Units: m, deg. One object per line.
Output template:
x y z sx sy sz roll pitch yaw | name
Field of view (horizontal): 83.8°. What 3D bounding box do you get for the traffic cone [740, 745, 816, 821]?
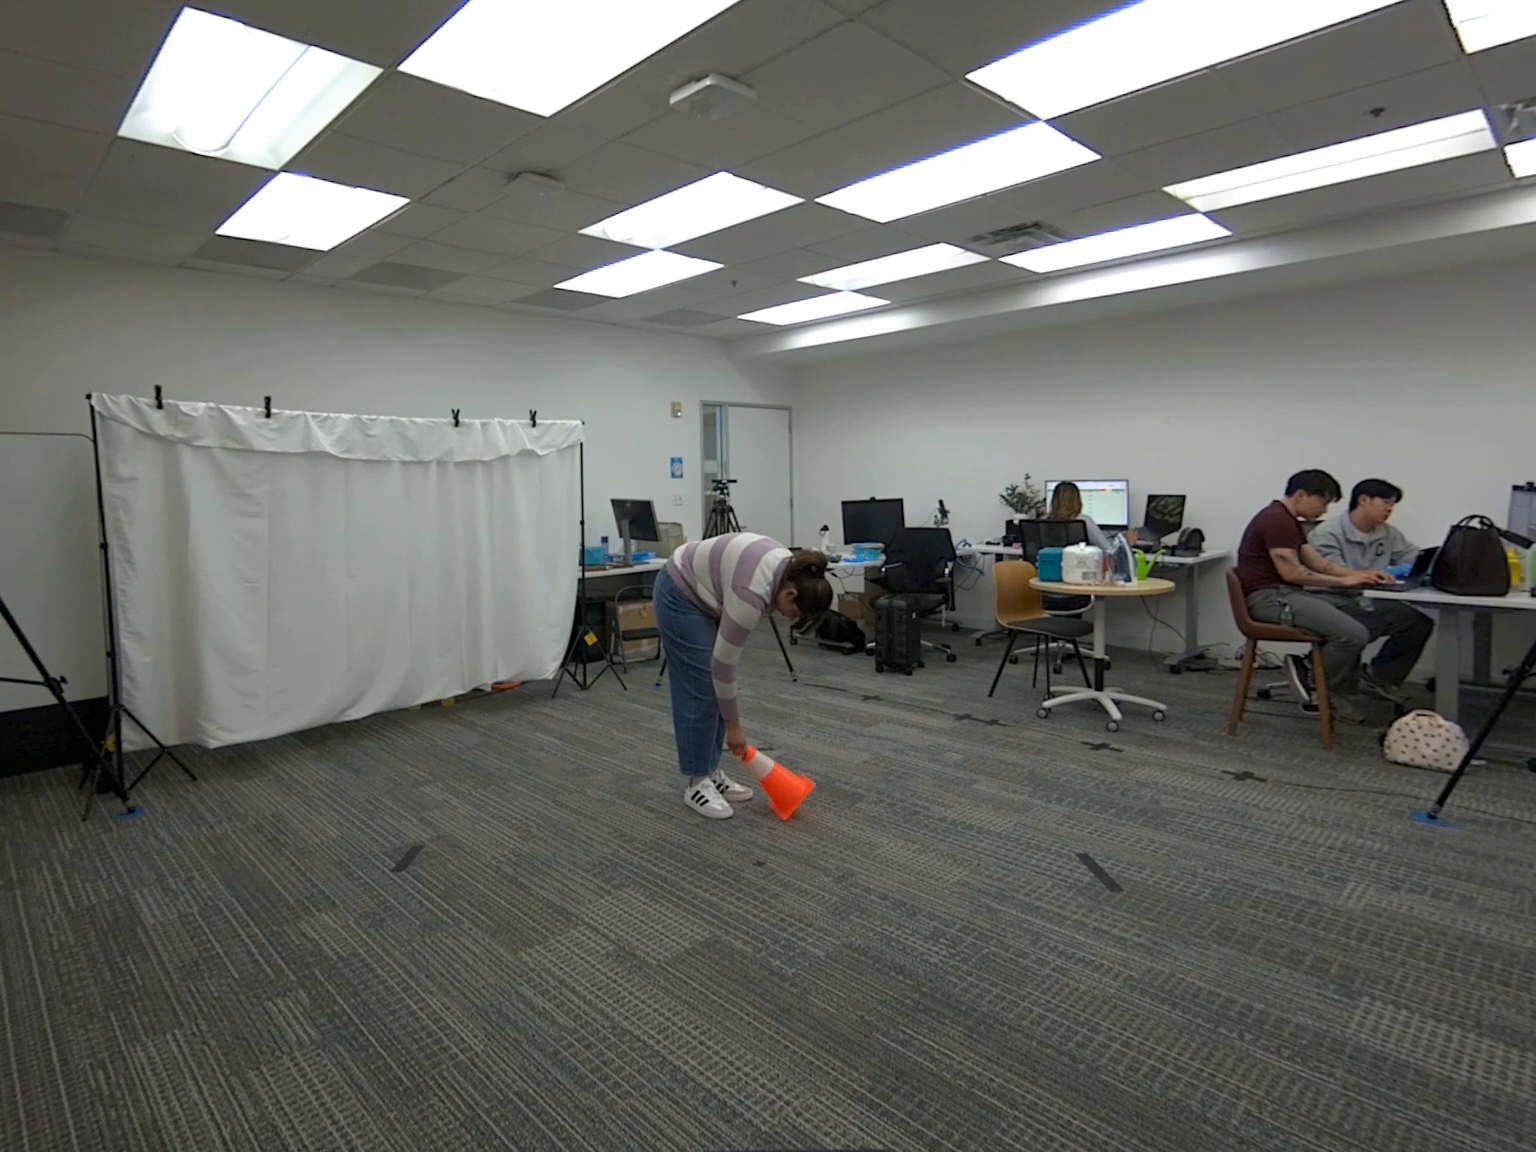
-0.024 0.788 3.556 0.205 0.379 0.205 -32 14 52 | traffic cone
